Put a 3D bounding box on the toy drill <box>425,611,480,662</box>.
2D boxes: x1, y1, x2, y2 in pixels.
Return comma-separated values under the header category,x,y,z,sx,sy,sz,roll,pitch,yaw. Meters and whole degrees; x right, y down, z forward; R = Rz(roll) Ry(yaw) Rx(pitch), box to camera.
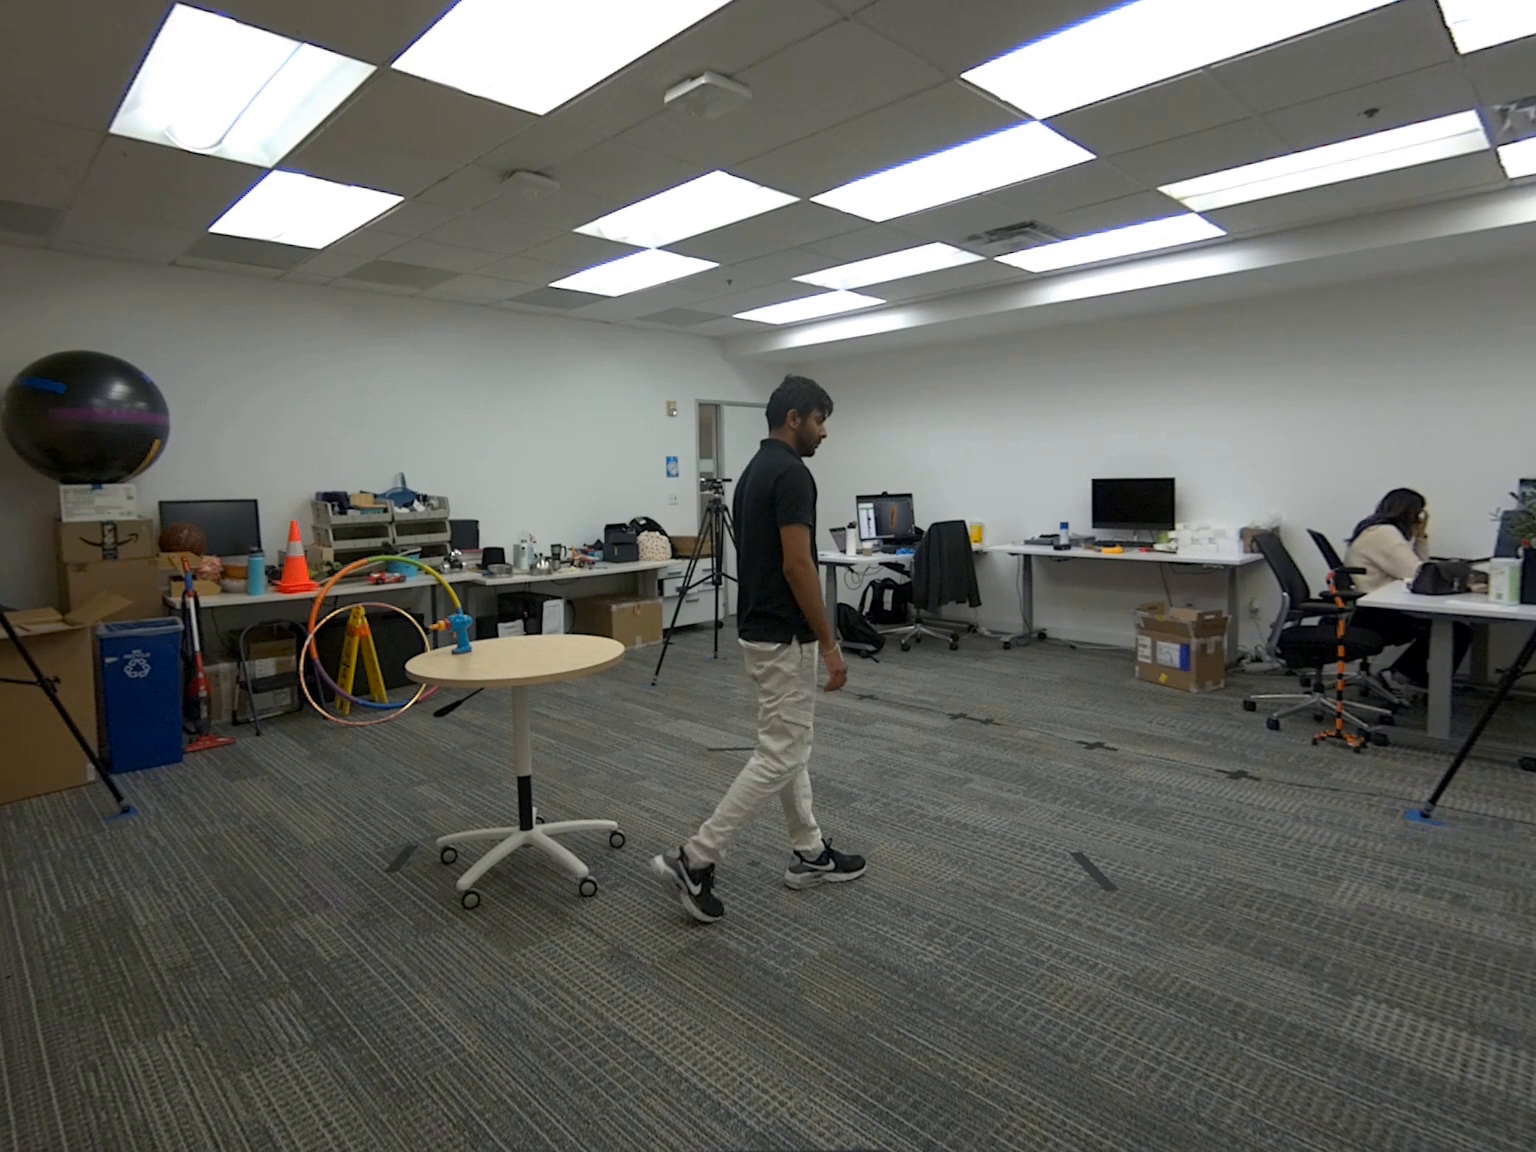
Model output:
category,x,y,z,sx,sy,sz,roll,pitch,yaw
toy drill,-1.147,0.216,3.113,0.063,0.145,0.166,3,9,40
